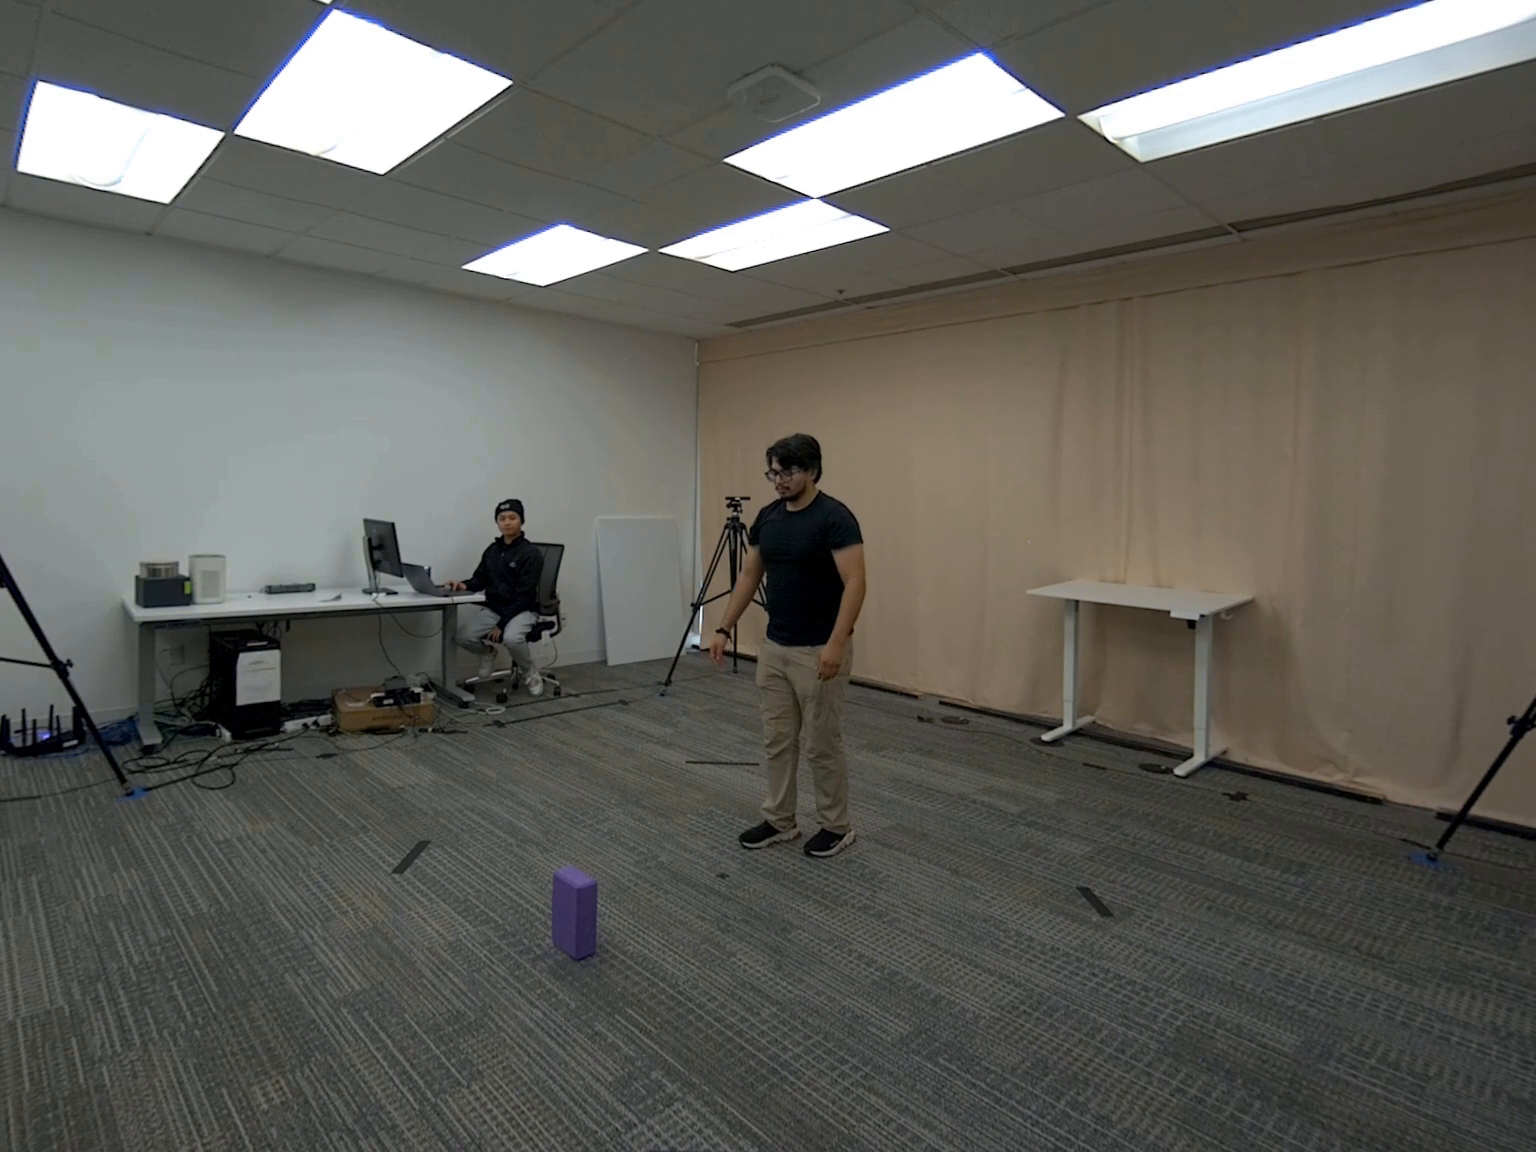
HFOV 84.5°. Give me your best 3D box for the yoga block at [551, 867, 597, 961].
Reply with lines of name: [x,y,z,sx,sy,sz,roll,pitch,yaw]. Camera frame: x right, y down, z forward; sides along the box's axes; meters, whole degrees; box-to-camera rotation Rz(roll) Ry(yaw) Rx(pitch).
yoga block: [-0.601,1.032,2.573,0.153,0.229,0.074,4,4,45]
